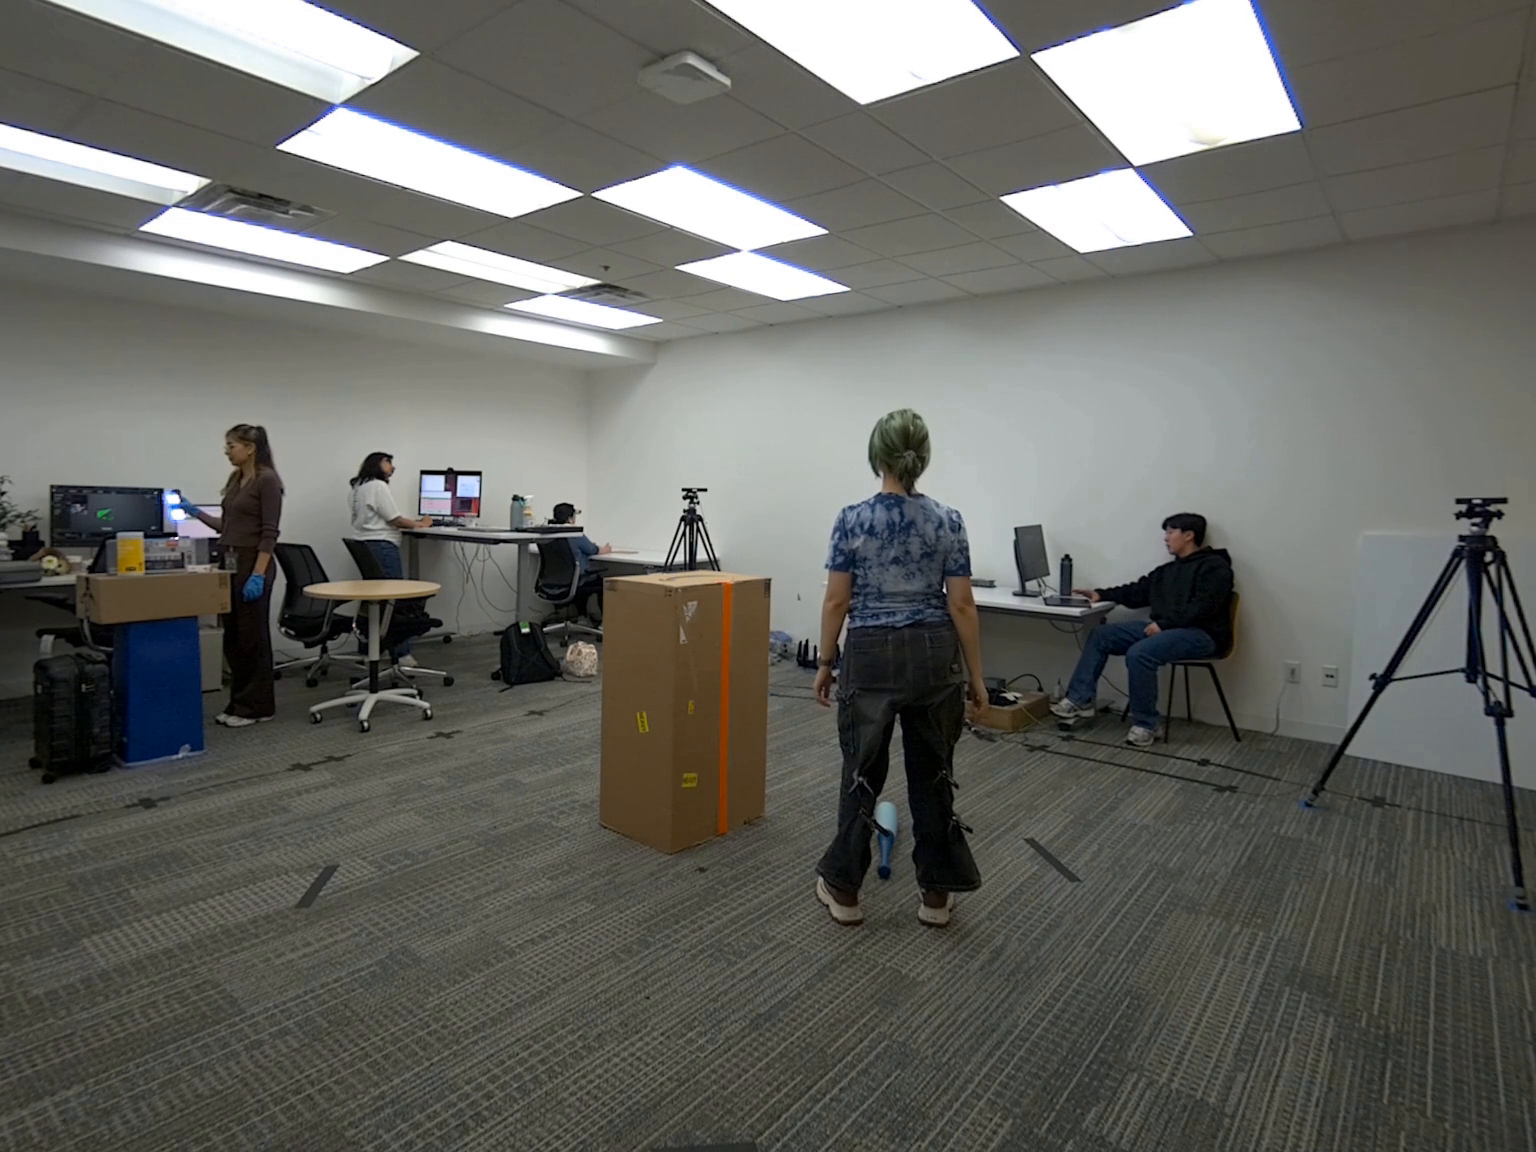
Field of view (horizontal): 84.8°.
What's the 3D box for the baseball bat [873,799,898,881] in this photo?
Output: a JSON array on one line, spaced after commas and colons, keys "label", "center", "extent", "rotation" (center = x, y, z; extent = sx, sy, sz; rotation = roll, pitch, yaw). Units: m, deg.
[{"label": "baseball bat", "center": [0.456, 1.033, 3.329], "extent": [0.090, 0.088, 0.541], "rotation": [1, 9, 9]}]
